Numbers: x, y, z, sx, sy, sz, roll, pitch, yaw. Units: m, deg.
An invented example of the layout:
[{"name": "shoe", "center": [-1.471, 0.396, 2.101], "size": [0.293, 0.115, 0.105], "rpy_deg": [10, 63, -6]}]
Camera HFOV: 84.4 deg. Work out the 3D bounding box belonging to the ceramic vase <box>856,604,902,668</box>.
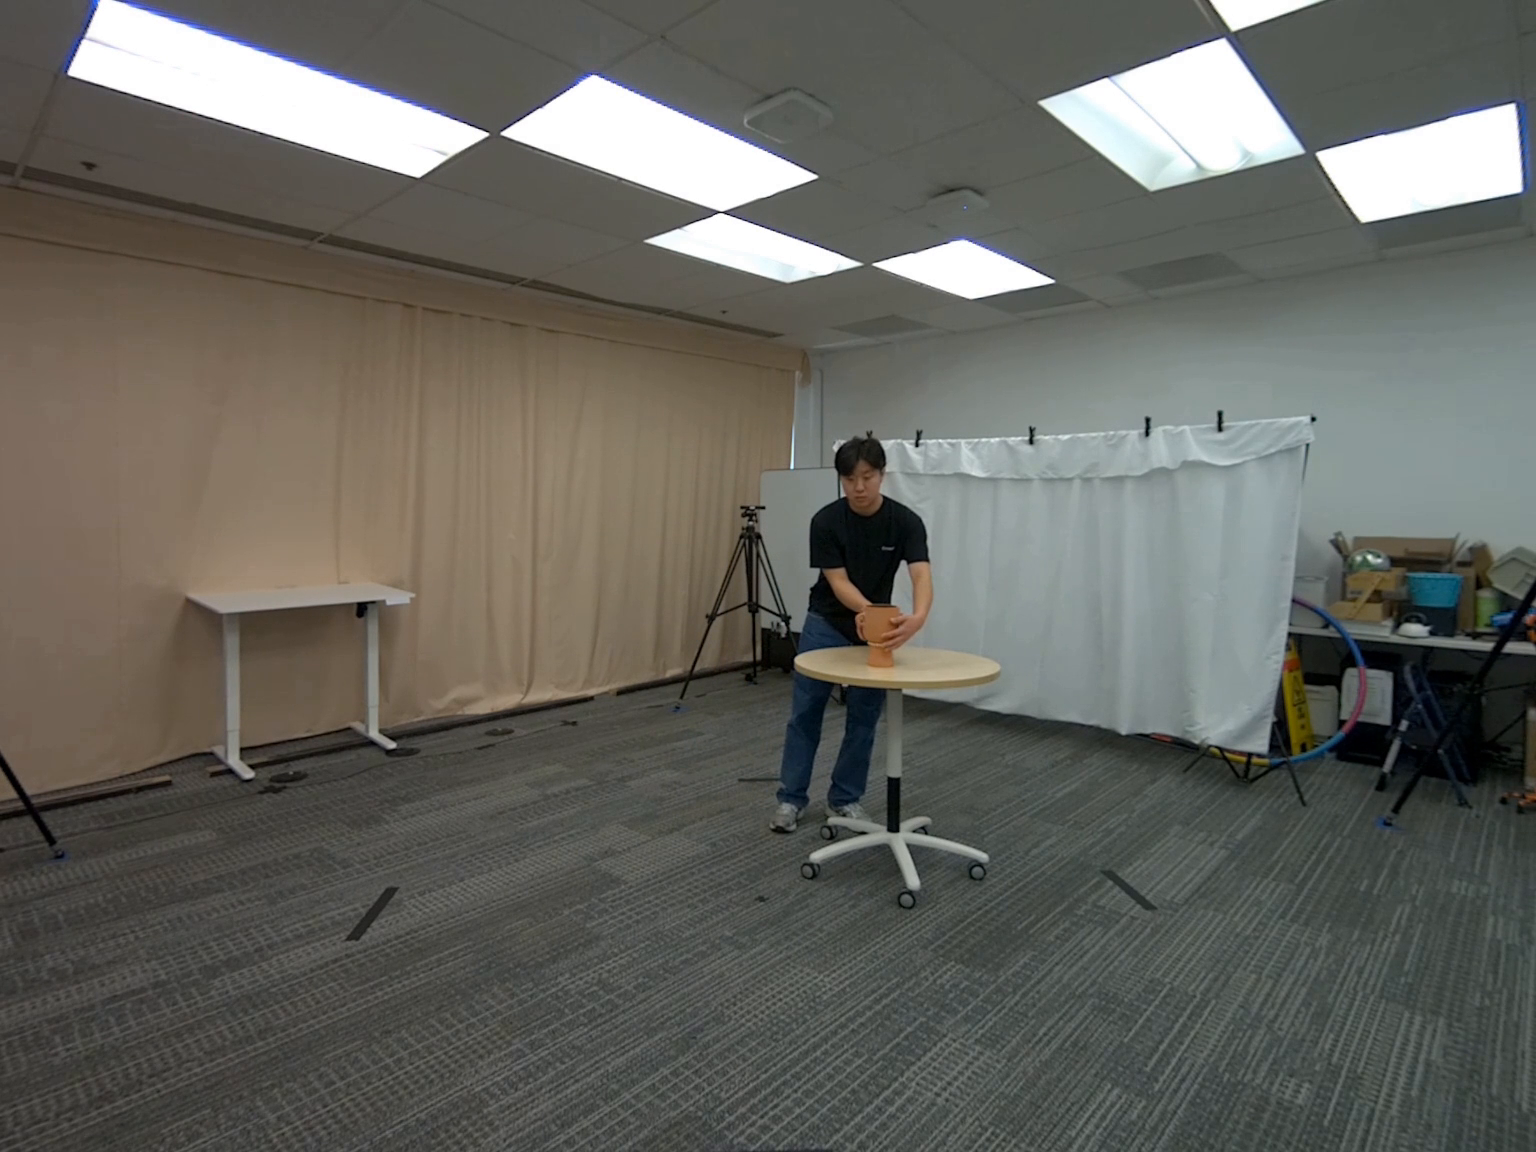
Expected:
[{"name": "ceramic vase", "center": [0.422, 0.221, 3.134], "size": [0.163, 0.219, 0.131], "rpy_deg": [4, 5, 27]}]
